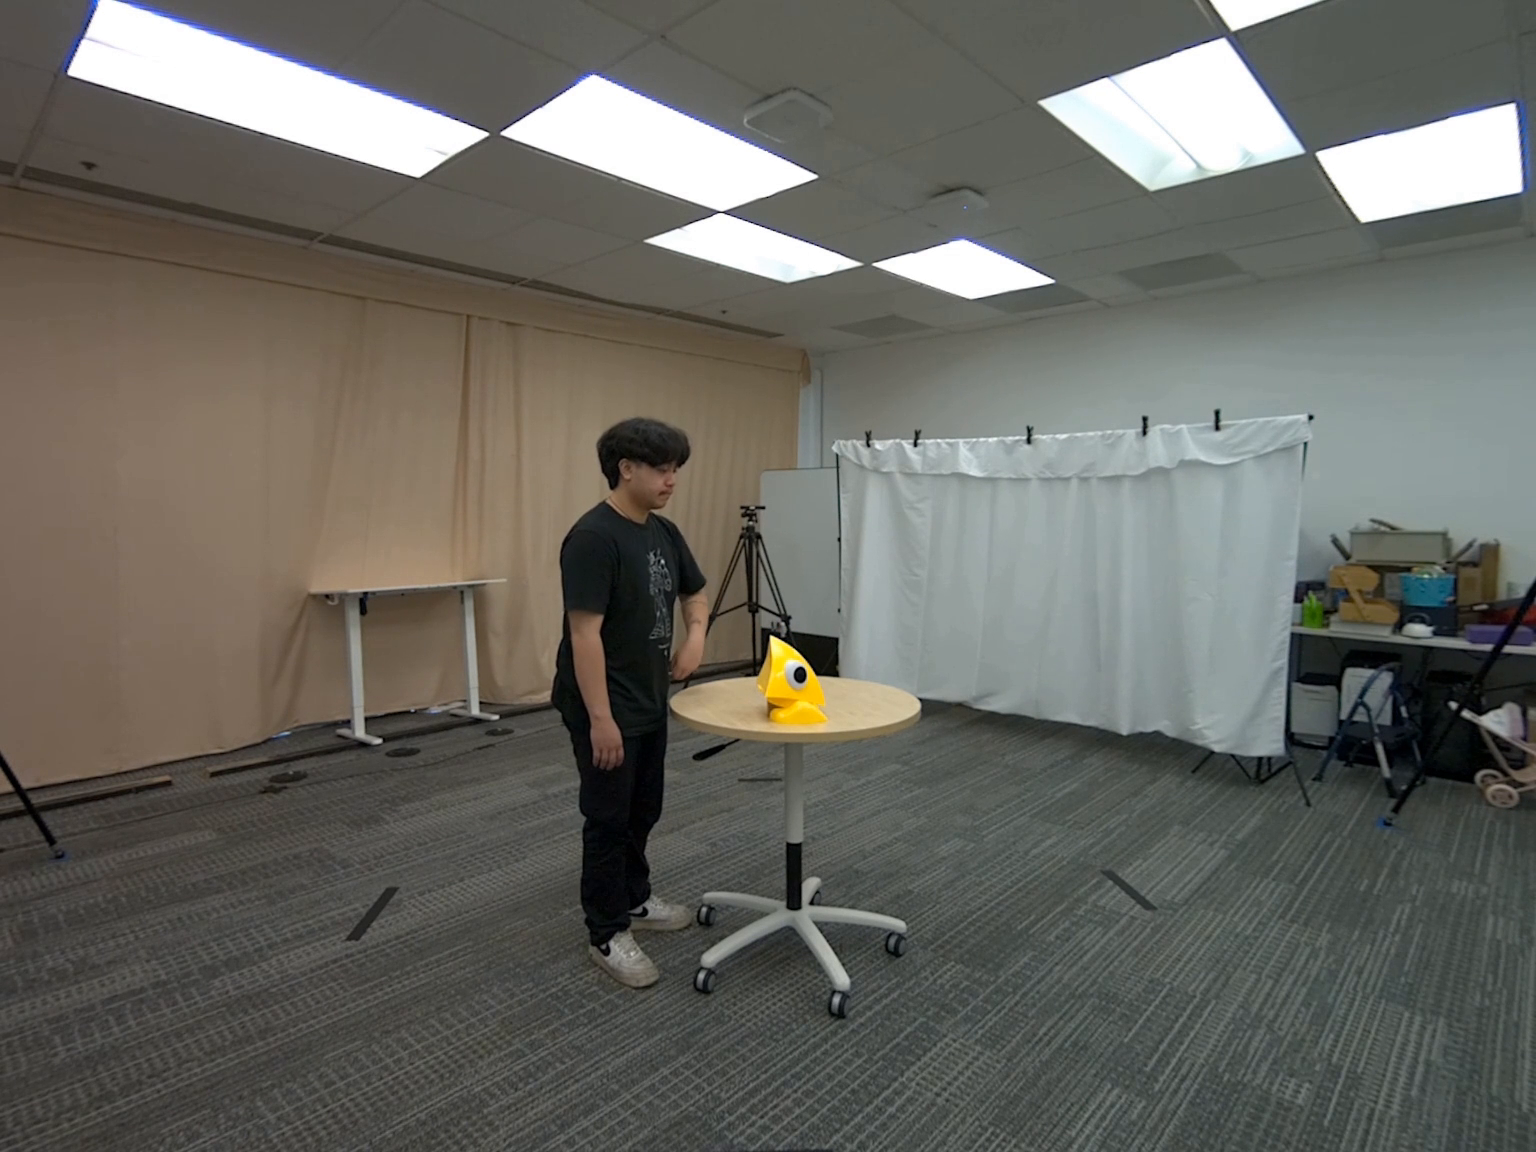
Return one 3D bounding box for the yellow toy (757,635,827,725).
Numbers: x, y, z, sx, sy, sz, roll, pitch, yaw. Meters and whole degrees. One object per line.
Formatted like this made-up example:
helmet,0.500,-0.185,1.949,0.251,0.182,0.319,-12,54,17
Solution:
yellow toy,0.071,0.285,2.388,0.192,0.230,0.206,0,3,-5
